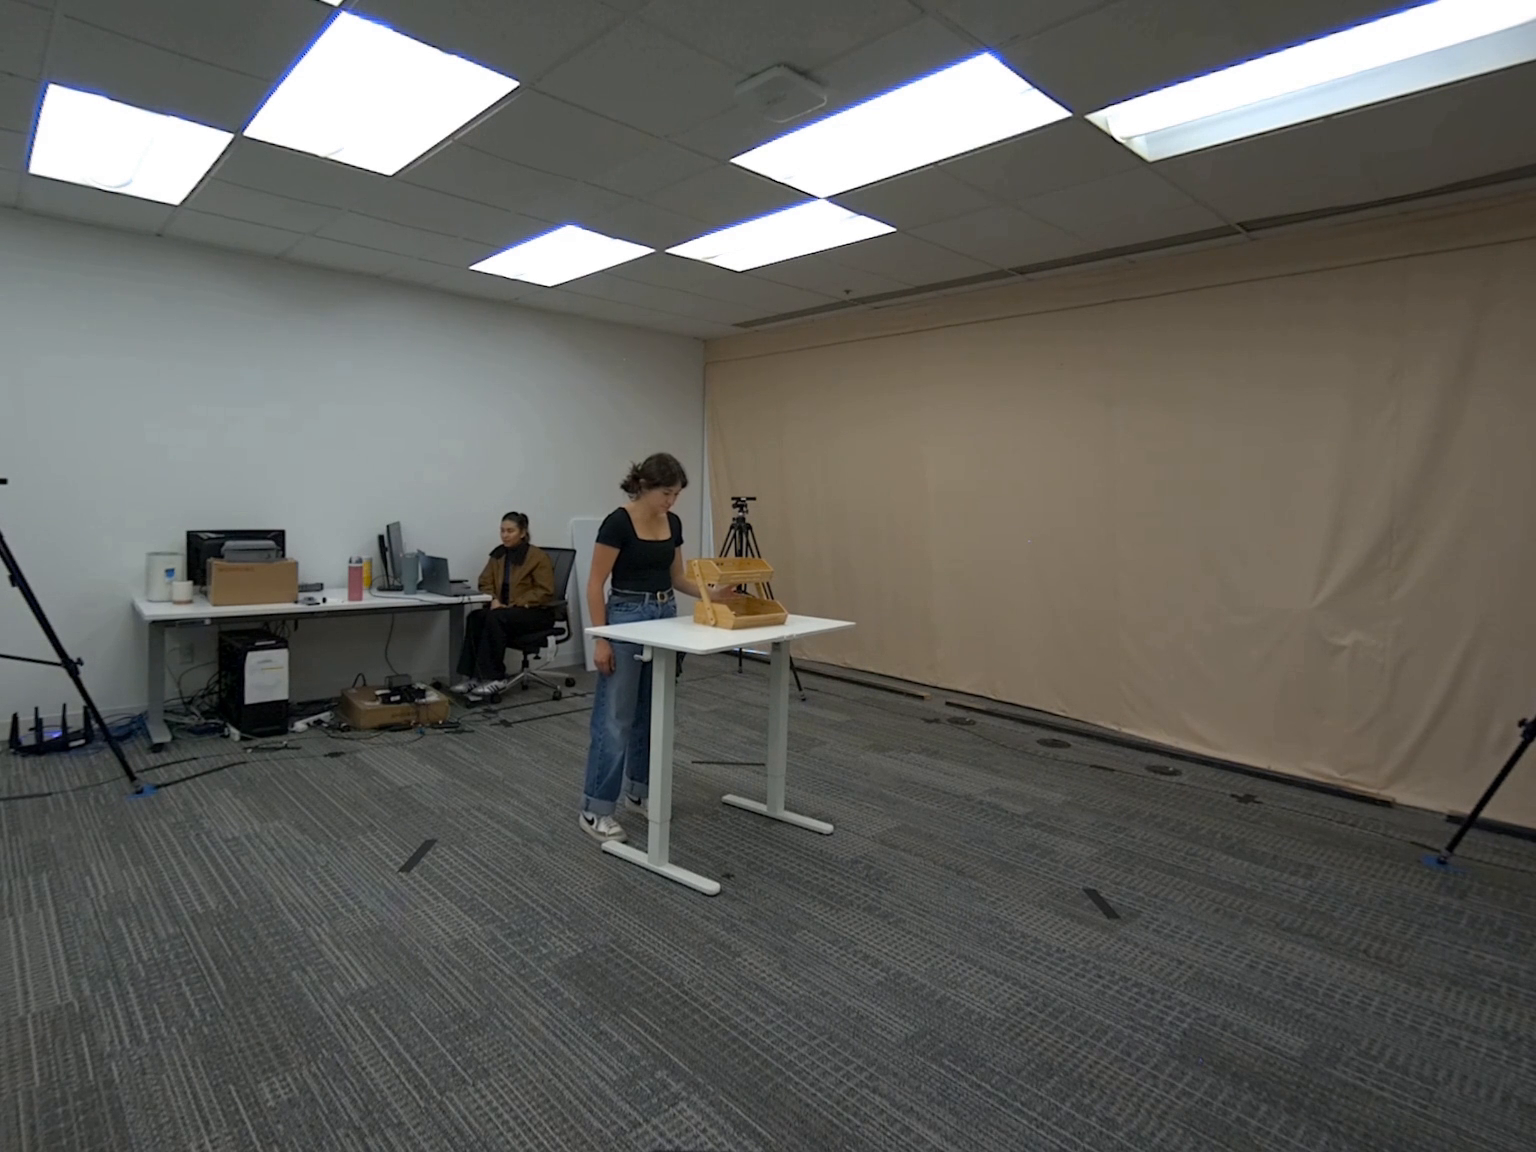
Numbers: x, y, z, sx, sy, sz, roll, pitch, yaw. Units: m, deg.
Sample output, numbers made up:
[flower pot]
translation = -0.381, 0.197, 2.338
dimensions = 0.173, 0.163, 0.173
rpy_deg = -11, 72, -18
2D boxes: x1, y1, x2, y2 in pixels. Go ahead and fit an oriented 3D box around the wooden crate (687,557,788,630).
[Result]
[wooden crate]
translation = -0.131, 0.062, 3.460
dimensions = 0.317, 0.273, 0.310
rpy_deg = -2, 4, -44
